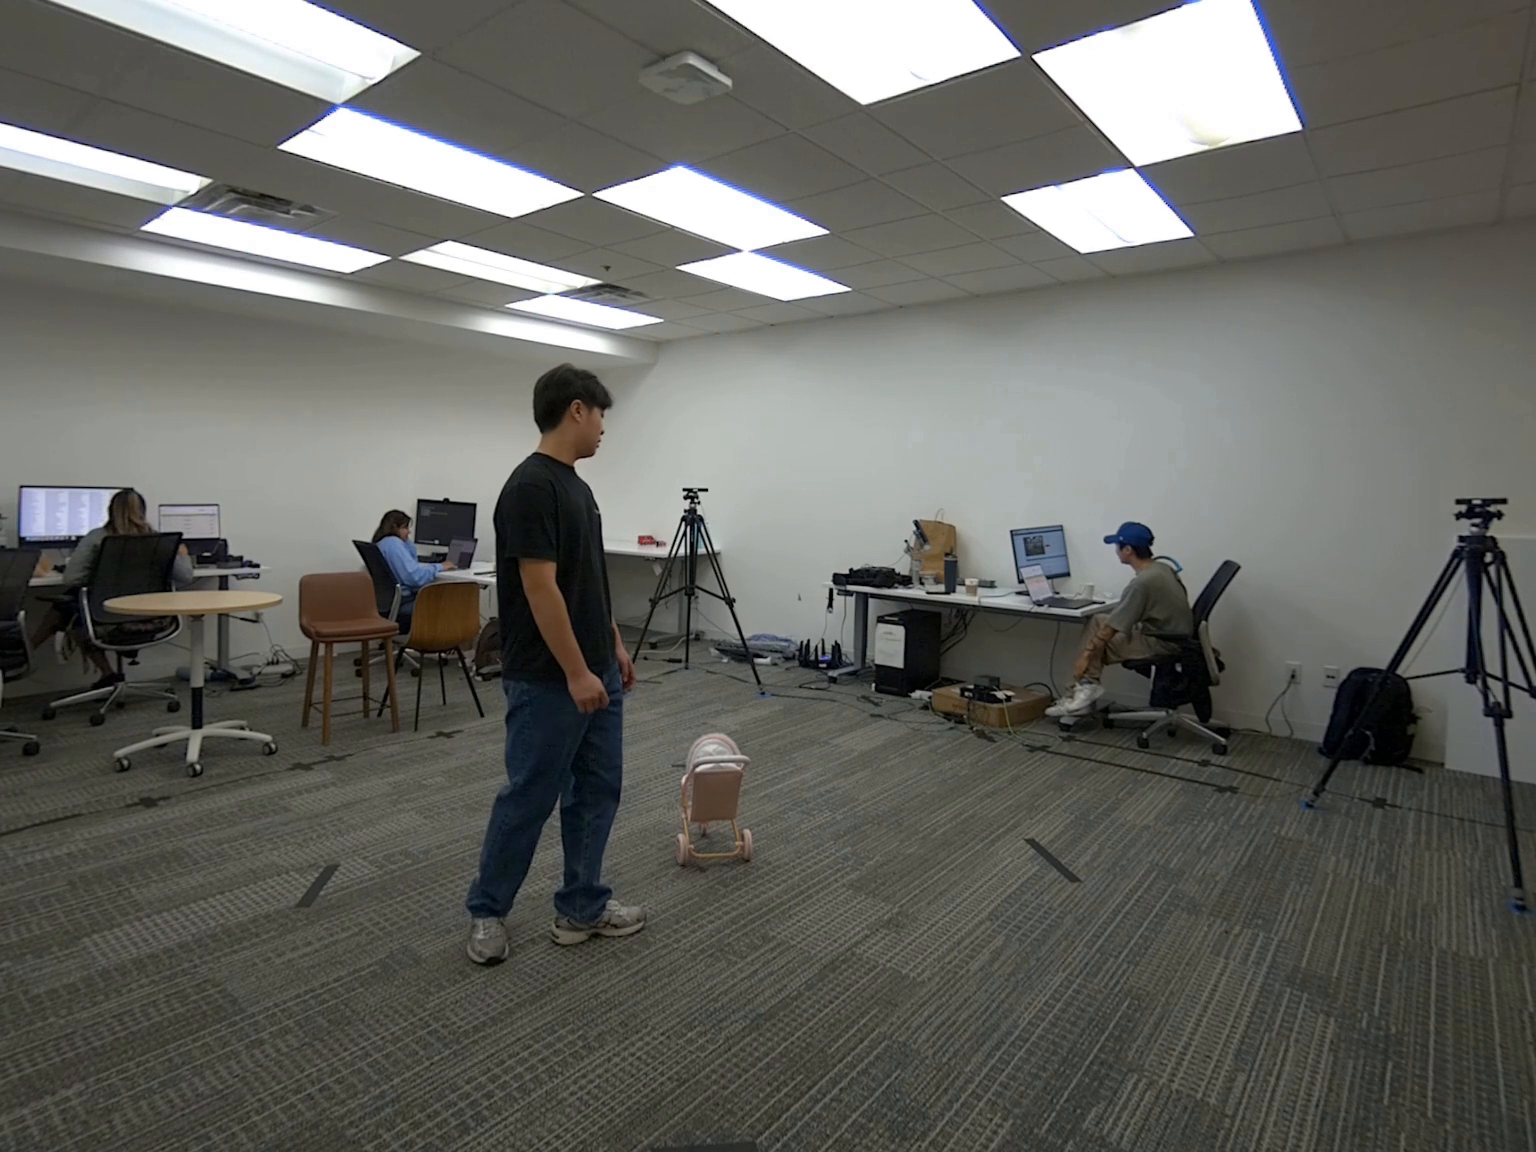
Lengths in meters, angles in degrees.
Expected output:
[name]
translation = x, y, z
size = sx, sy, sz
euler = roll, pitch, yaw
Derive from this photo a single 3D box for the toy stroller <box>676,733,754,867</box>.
[toy stroller]
translation = -0.221, 0.830, 3.237
size = 0.279, 0.527, 0.350
euler = 1, 18, -10
